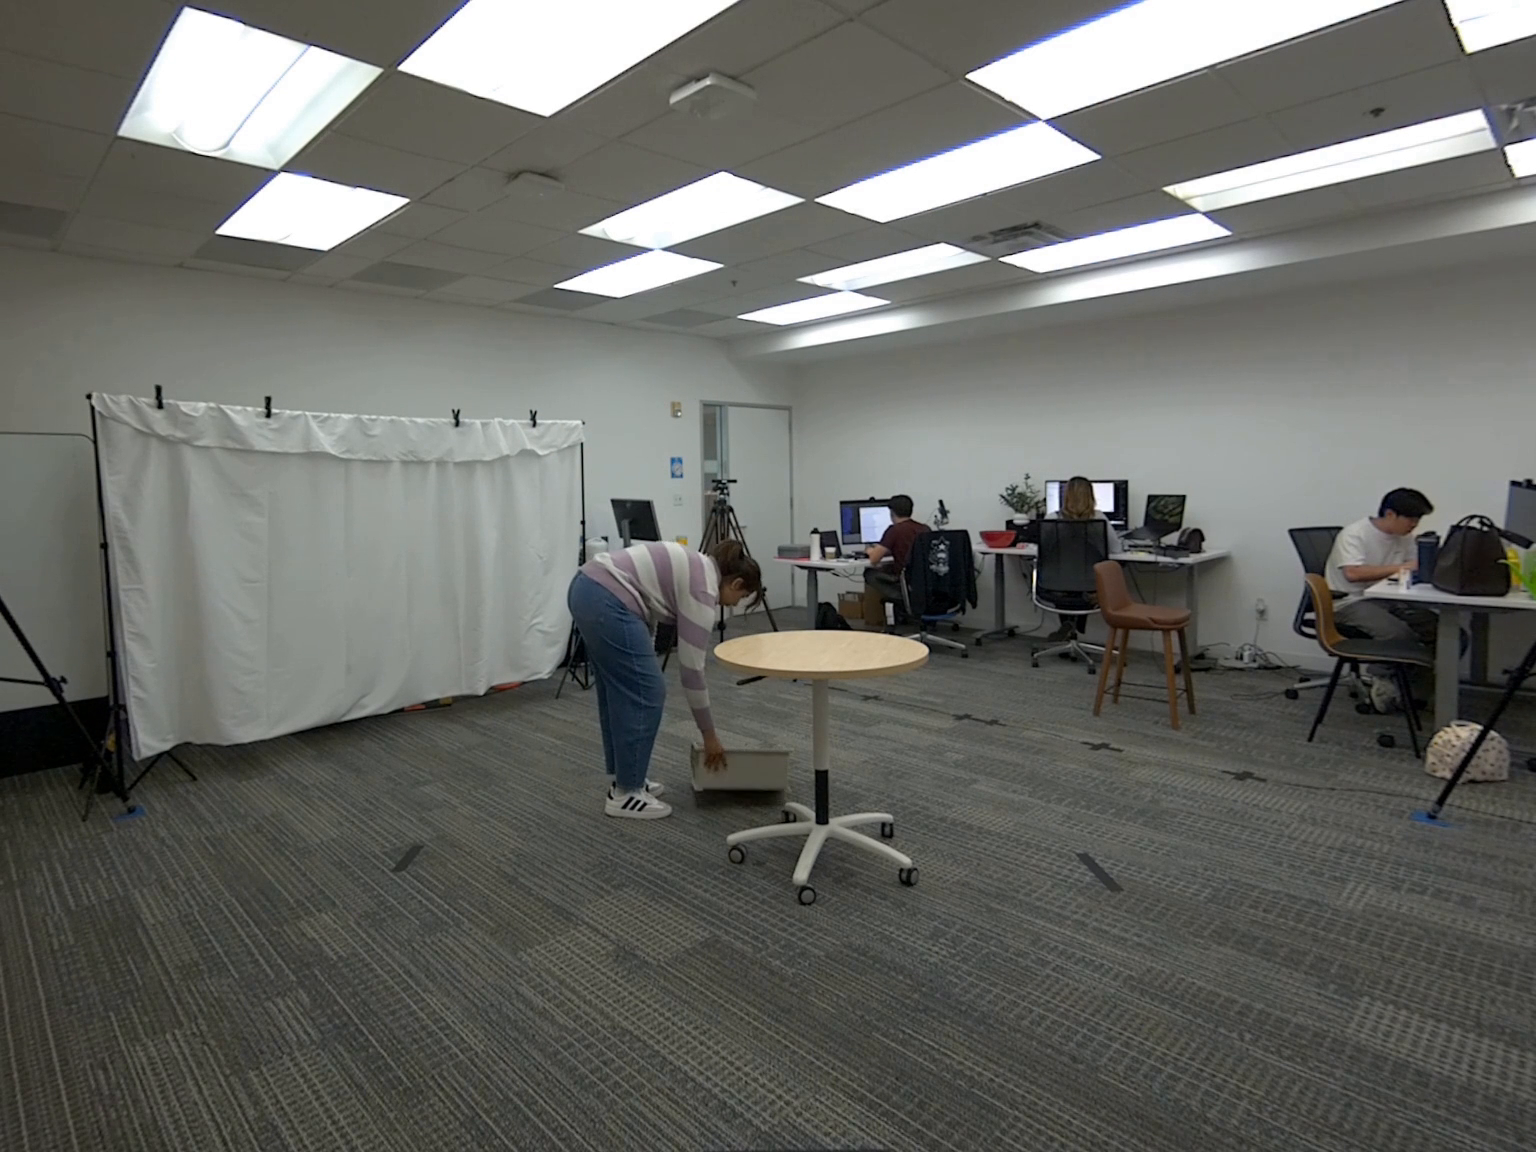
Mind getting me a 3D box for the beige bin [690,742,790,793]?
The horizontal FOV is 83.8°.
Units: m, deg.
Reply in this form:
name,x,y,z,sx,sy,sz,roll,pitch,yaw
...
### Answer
name,x,y,z,sx,sy,sz,roll,pitch,yaw
beige bin,-0.131,0.835,3.811,0.420,0.190,0.378,4,-5,-7
